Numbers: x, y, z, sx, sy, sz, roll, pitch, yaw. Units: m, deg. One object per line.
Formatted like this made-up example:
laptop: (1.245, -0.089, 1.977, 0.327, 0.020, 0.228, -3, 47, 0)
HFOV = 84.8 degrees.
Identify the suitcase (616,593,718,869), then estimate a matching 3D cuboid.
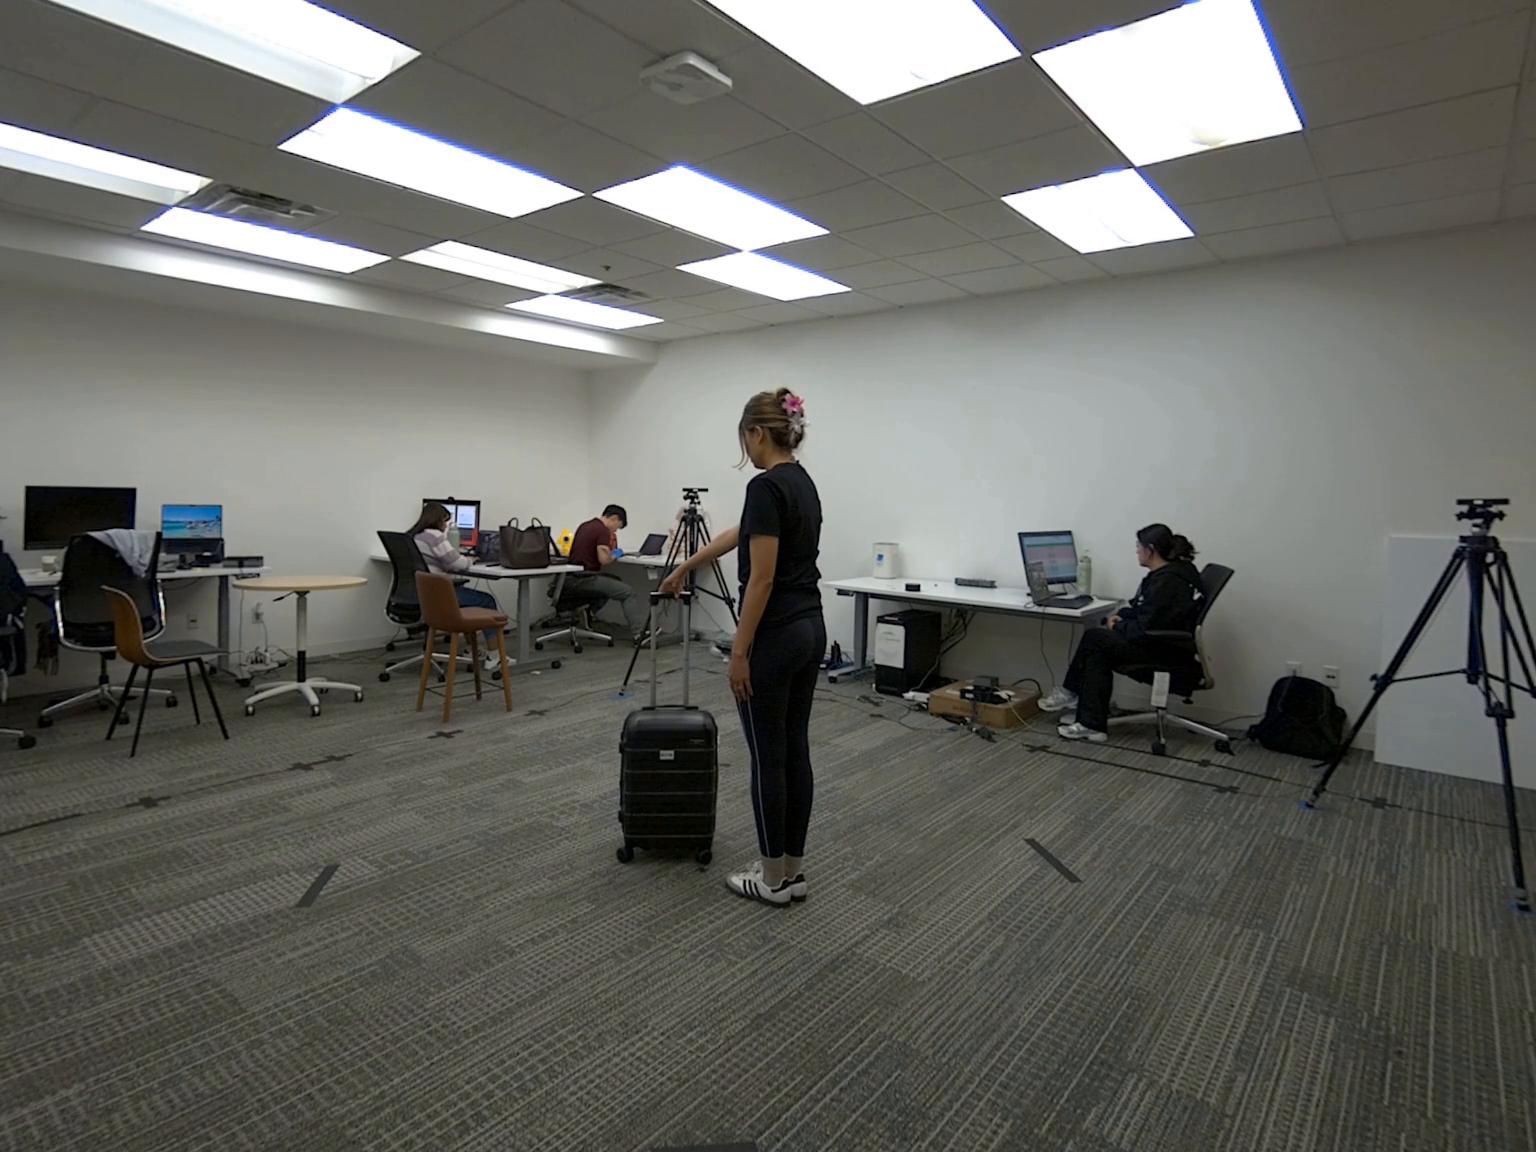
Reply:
suitcase: (-0.384, 0.579, 3.246, 0.382, 0.976, 0.259, 1, 3, -5)
